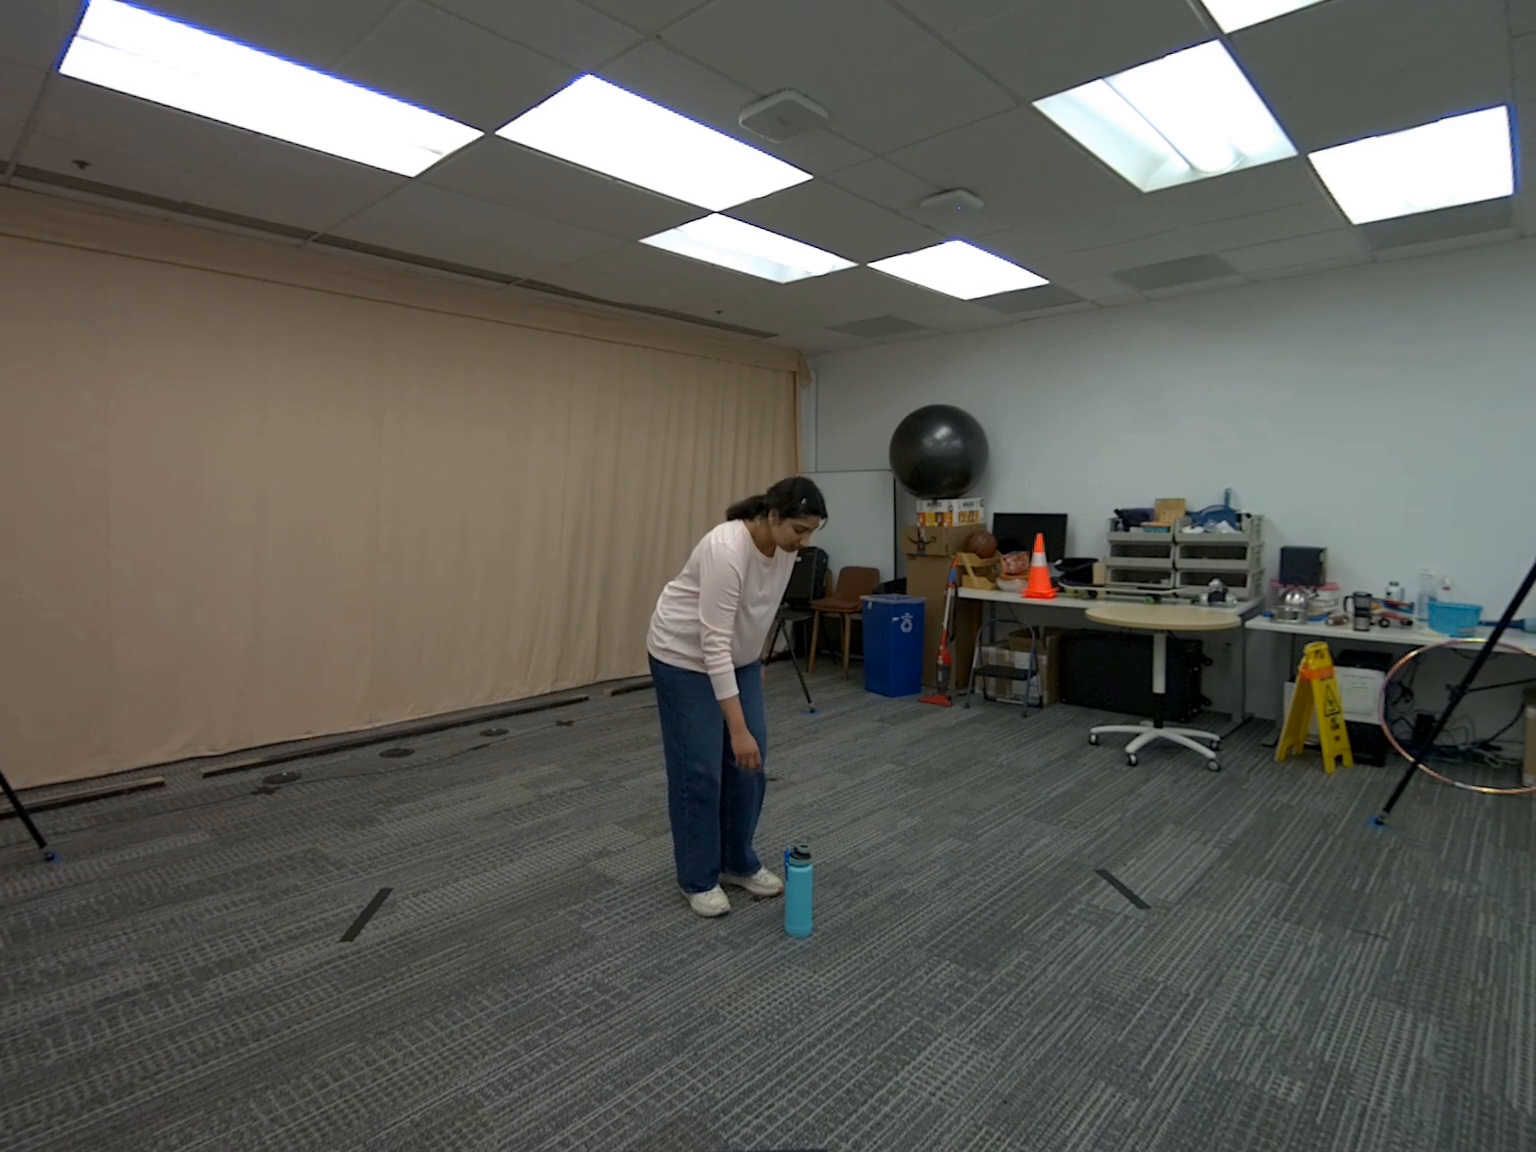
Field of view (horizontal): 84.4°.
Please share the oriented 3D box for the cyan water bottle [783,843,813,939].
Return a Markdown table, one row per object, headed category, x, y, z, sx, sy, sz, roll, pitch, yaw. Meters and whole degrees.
| category | x | y | z | sx | sy | sz | roll | pitch | yaw |
| --- | --- | --- | --- | --- | --- | --- | --- | --- | --- |
| cyan water bottle | 0.106 | 1.025 | 2.752 | 0.092 | 0.283 | 0.092 | -1 | 3 | -2 |
